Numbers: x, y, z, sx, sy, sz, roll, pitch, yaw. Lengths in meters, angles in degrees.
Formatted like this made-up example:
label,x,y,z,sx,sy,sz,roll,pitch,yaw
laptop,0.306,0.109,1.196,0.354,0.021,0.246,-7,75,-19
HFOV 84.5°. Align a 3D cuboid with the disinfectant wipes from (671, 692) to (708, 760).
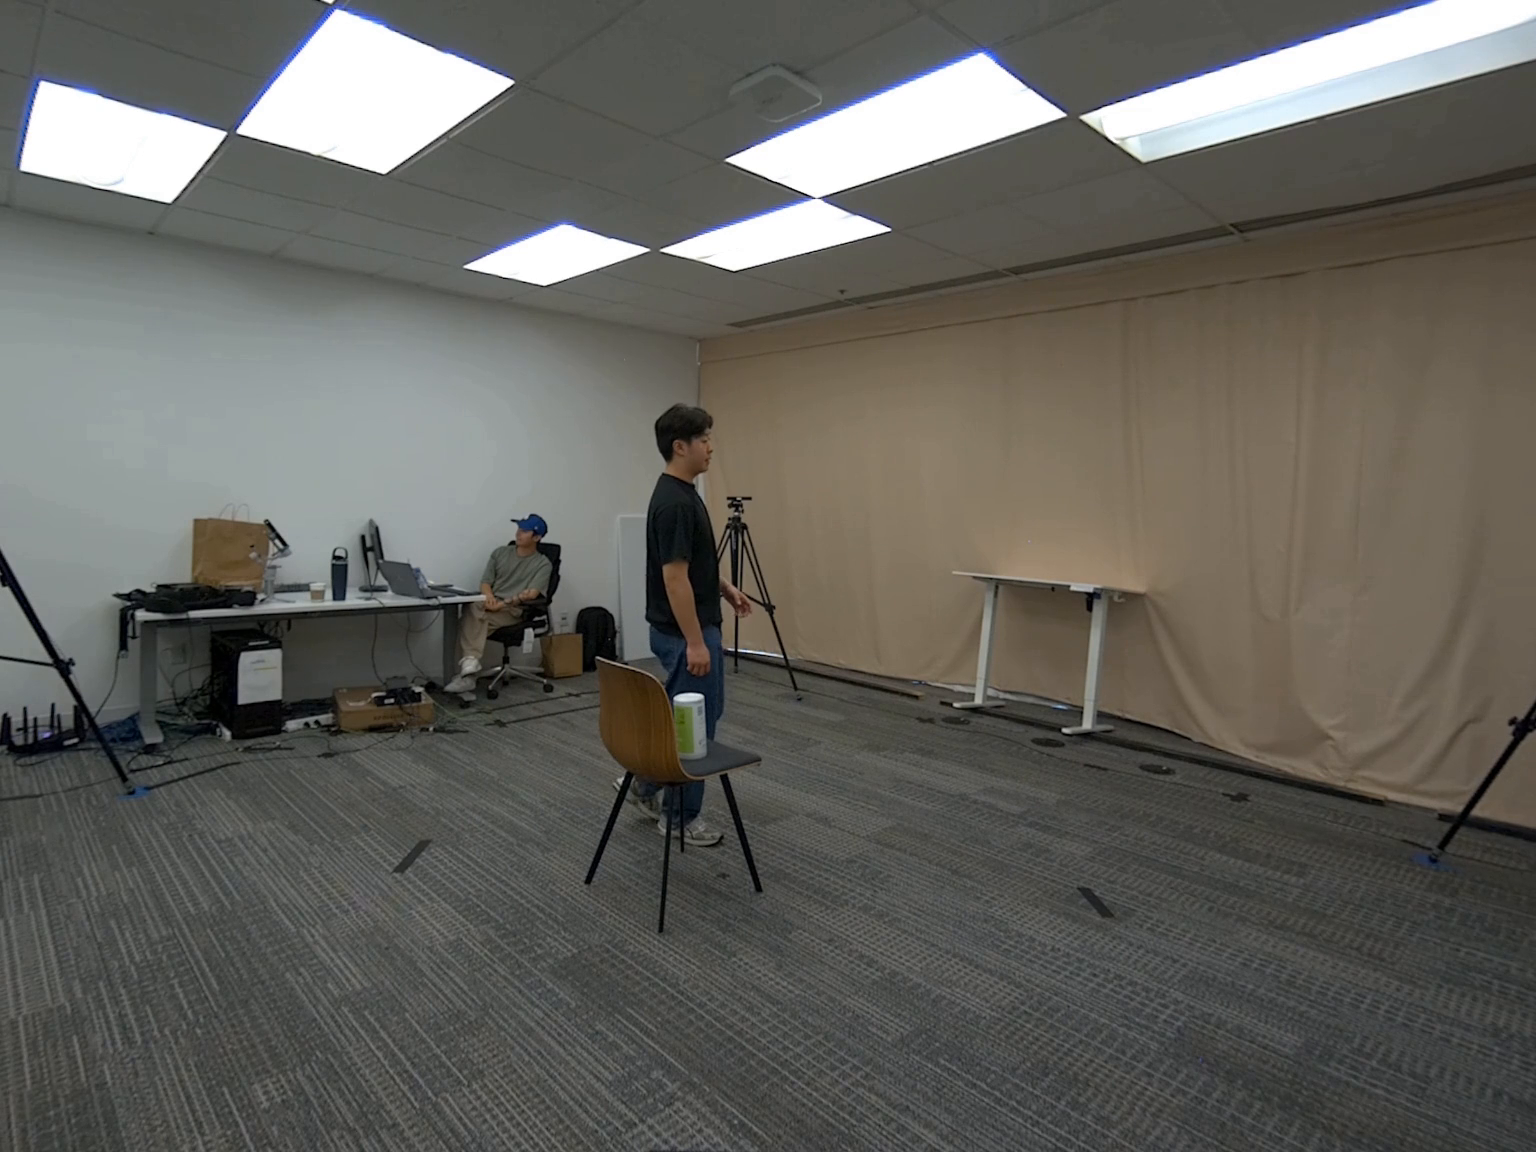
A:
label,x,y,z,sx,sy,sz,roll,pitch,yaw
disinfectant wipes,-0.279,0.534,2.977,0.118,0.217,0.118,-3,4,-1
